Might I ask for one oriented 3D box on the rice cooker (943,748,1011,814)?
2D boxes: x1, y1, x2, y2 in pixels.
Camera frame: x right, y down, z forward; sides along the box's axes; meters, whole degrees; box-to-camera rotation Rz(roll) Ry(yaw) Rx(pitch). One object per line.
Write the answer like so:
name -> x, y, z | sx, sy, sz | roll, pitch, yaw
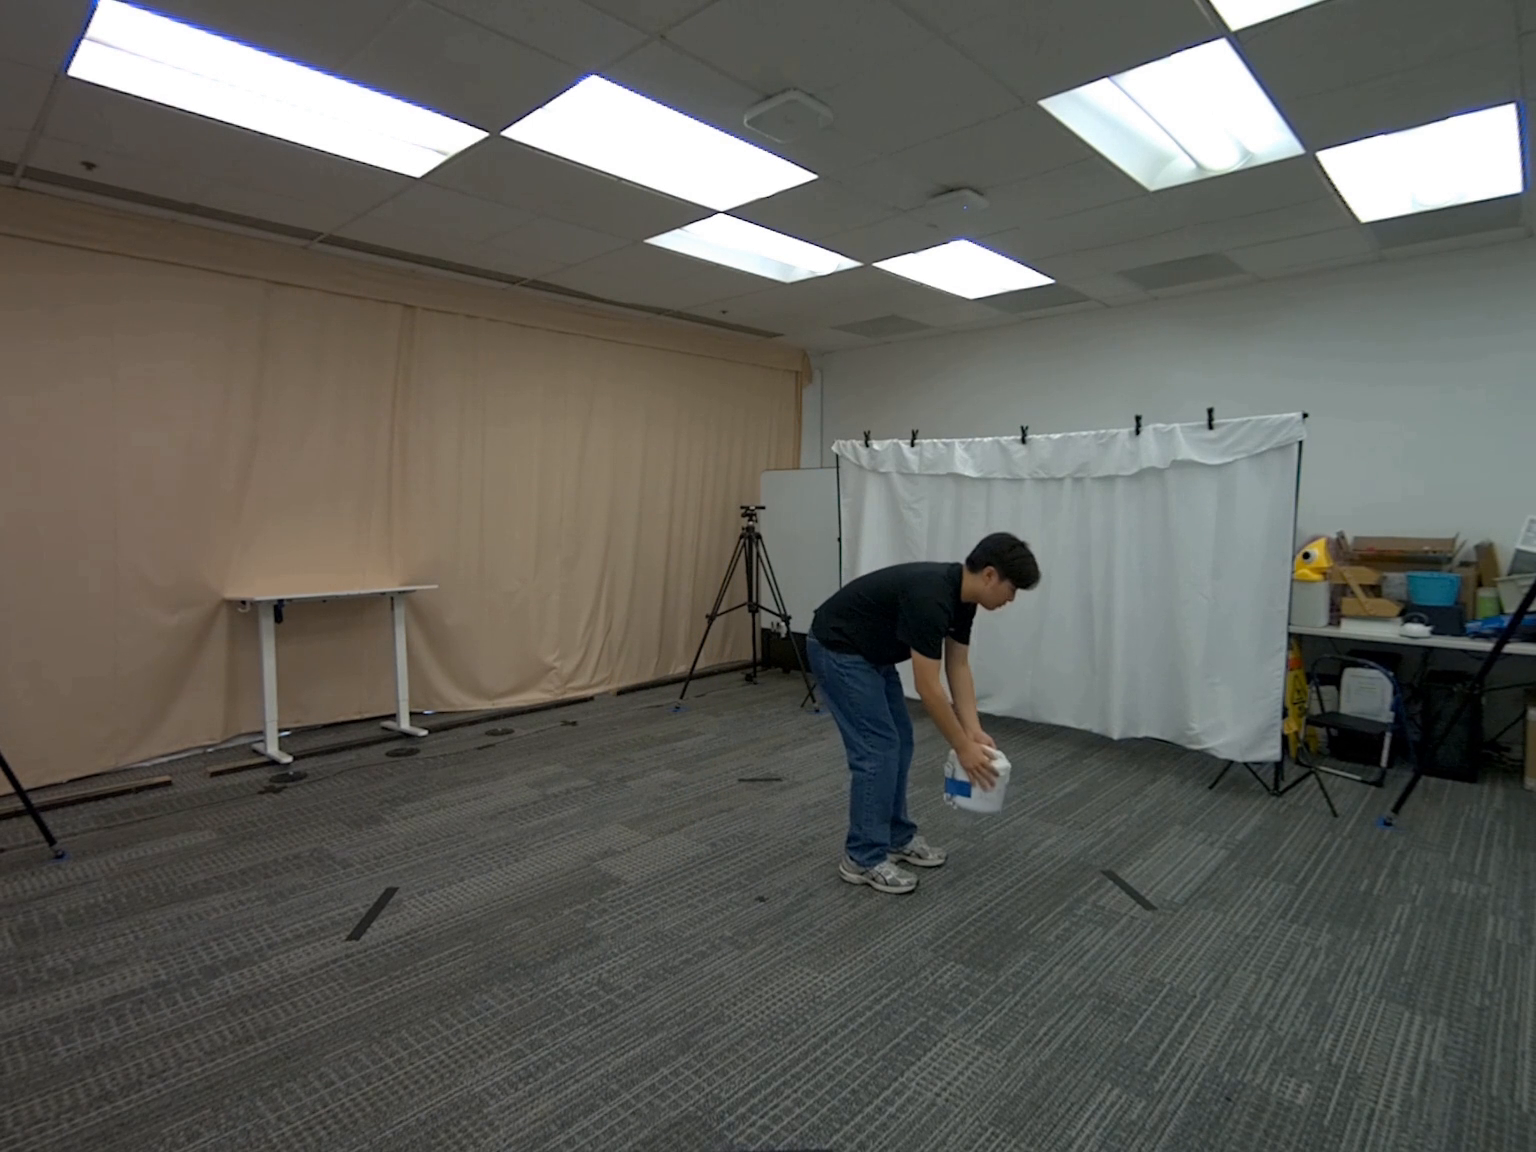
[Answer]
rice cooker -> 0.772, 0.722, 3.064 | 0.226, 0.232, 0.212 | 10, 6, 22
